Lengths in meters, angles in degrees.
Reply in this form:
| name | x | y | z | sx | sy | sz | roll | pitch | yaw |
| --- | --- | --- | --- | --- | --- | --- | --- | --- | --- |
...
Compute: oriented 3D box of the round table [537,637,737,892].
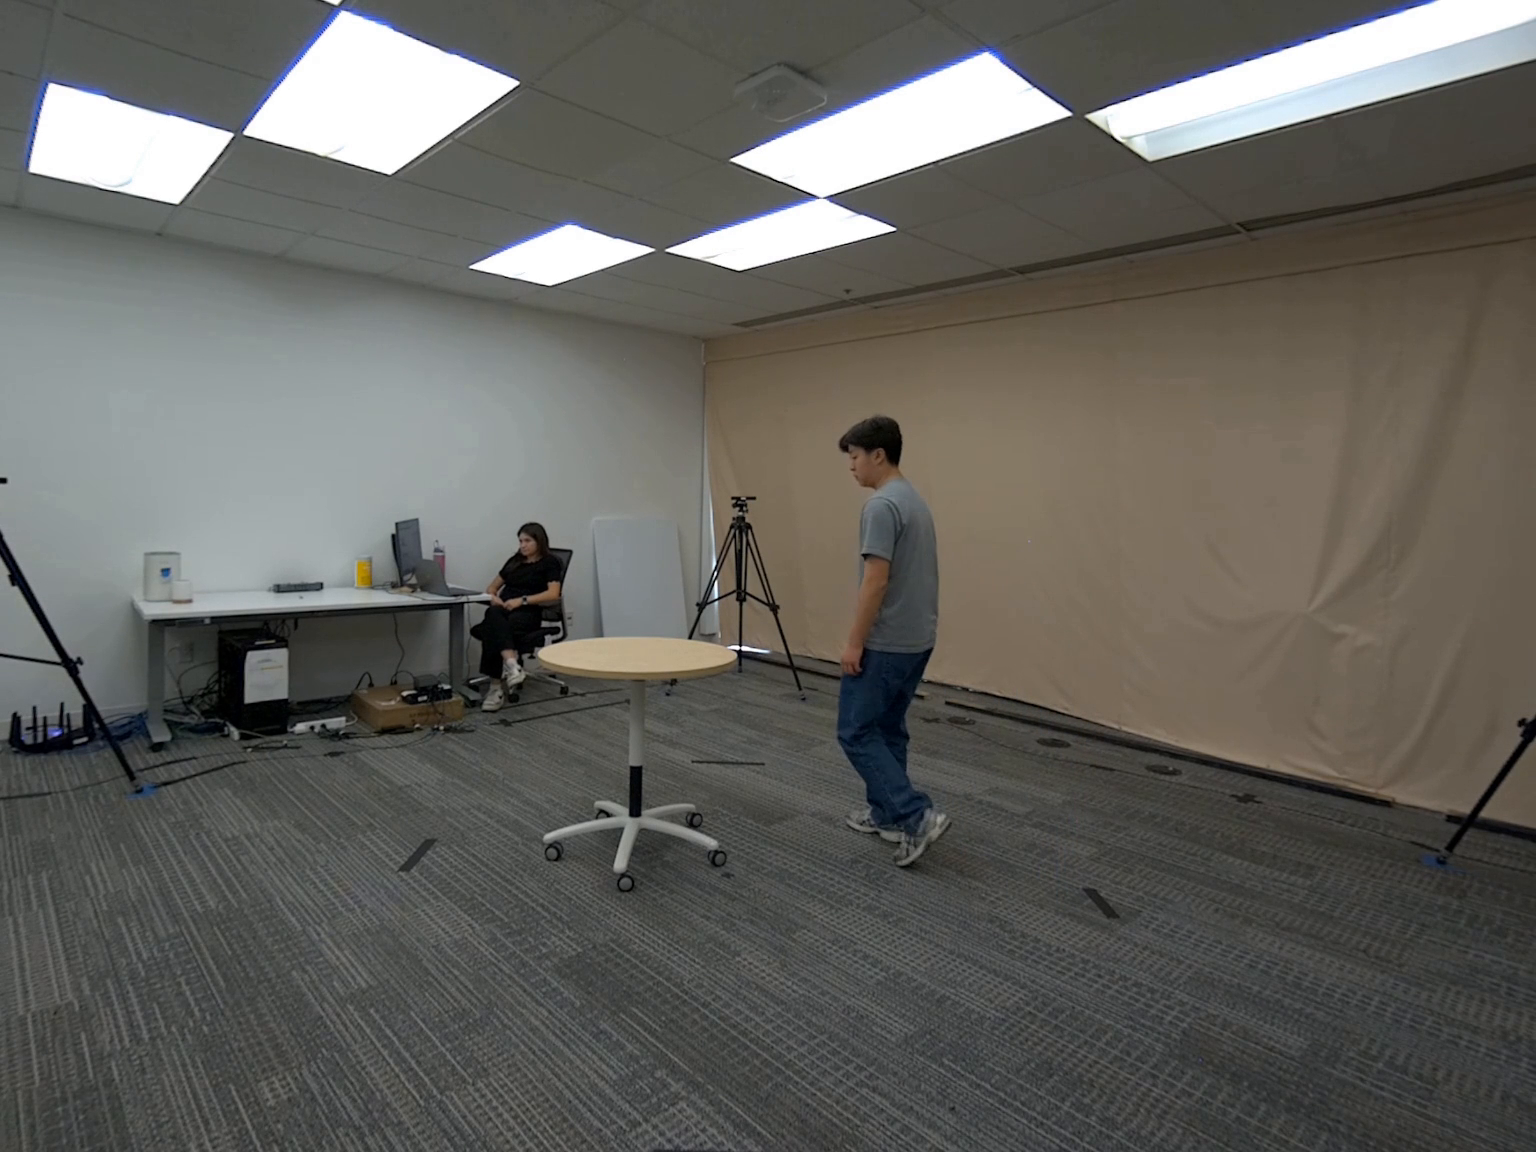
| name | x | y | z | sx | sy | sz | roll | pitch | yaw |
| --- | --- | --- | --- | --- | --- | --- | --- | --- | --- |
| round table | -0.518 | 0.690 | 3.279 | 0.763 | 0.792 | 0.766 | 1 | 3 | -1 |
